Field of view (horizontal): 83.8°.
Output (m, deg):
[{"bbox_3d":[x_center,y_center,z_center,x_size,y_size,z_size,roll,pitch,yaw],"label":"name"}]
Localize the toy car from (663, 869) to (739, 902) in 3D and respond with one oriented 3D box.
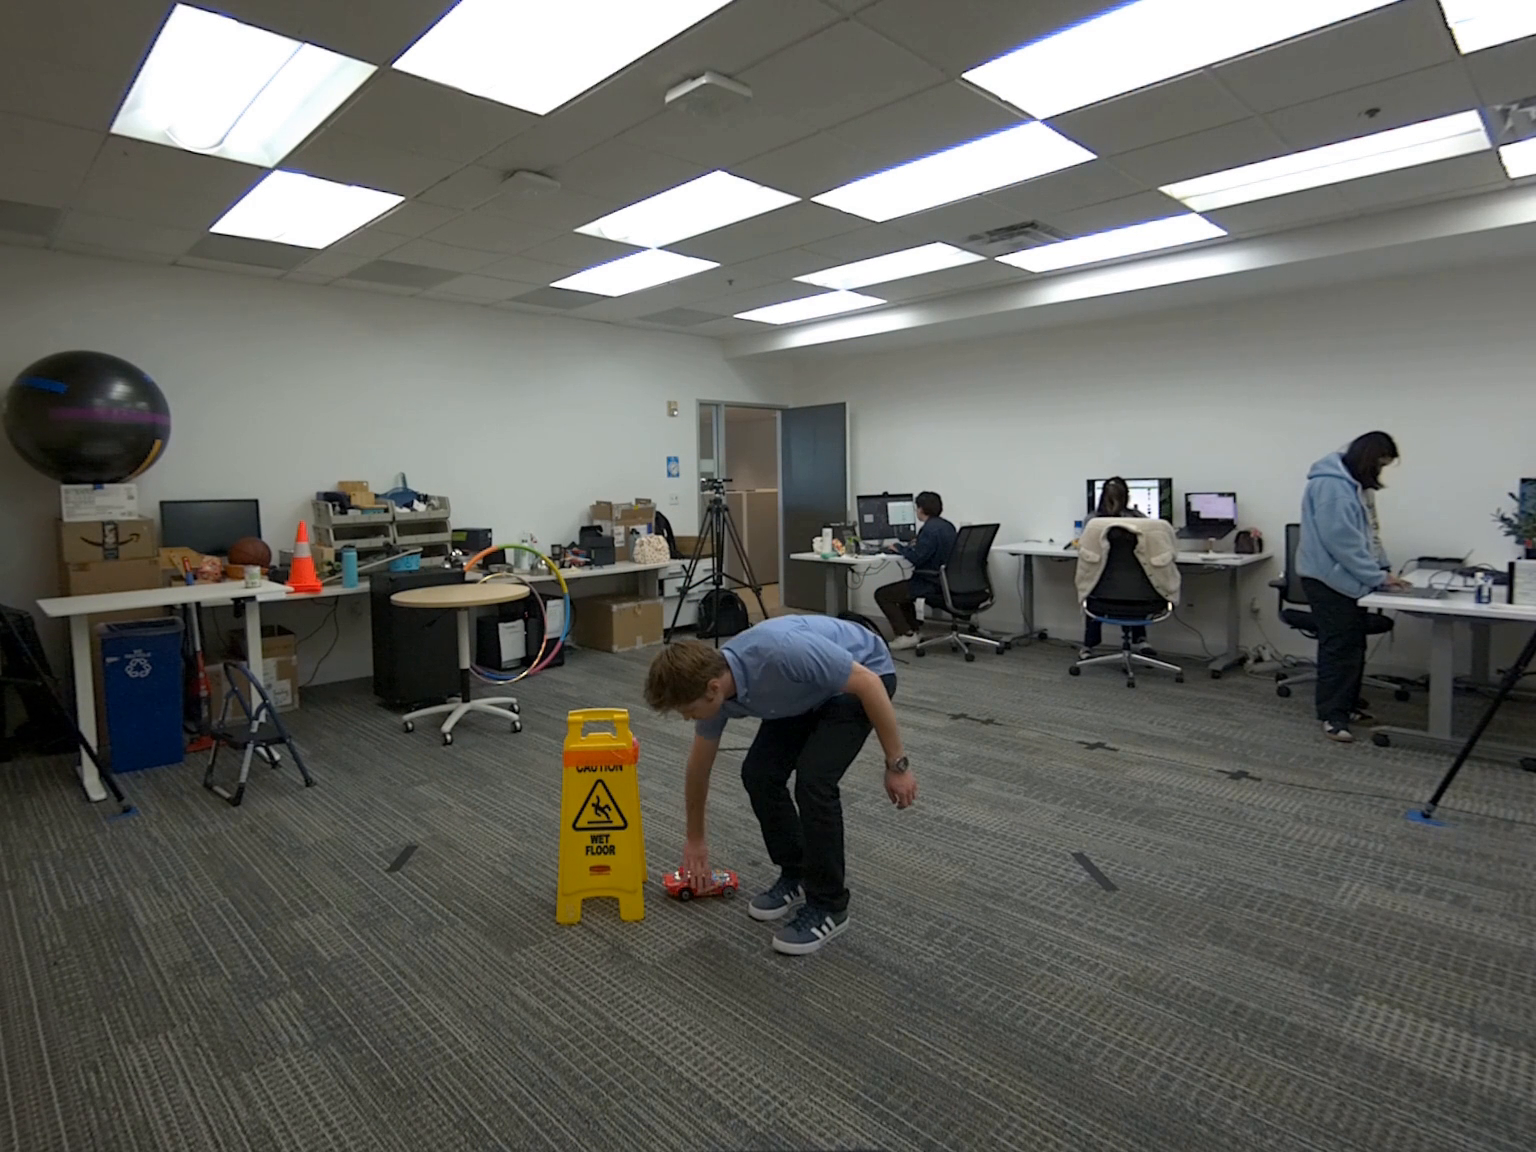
[{"bbox_3d":[-0.233,1.037,2.887,0.253,0.083,0.131,11,5,-6],"label":"toy car"}]
